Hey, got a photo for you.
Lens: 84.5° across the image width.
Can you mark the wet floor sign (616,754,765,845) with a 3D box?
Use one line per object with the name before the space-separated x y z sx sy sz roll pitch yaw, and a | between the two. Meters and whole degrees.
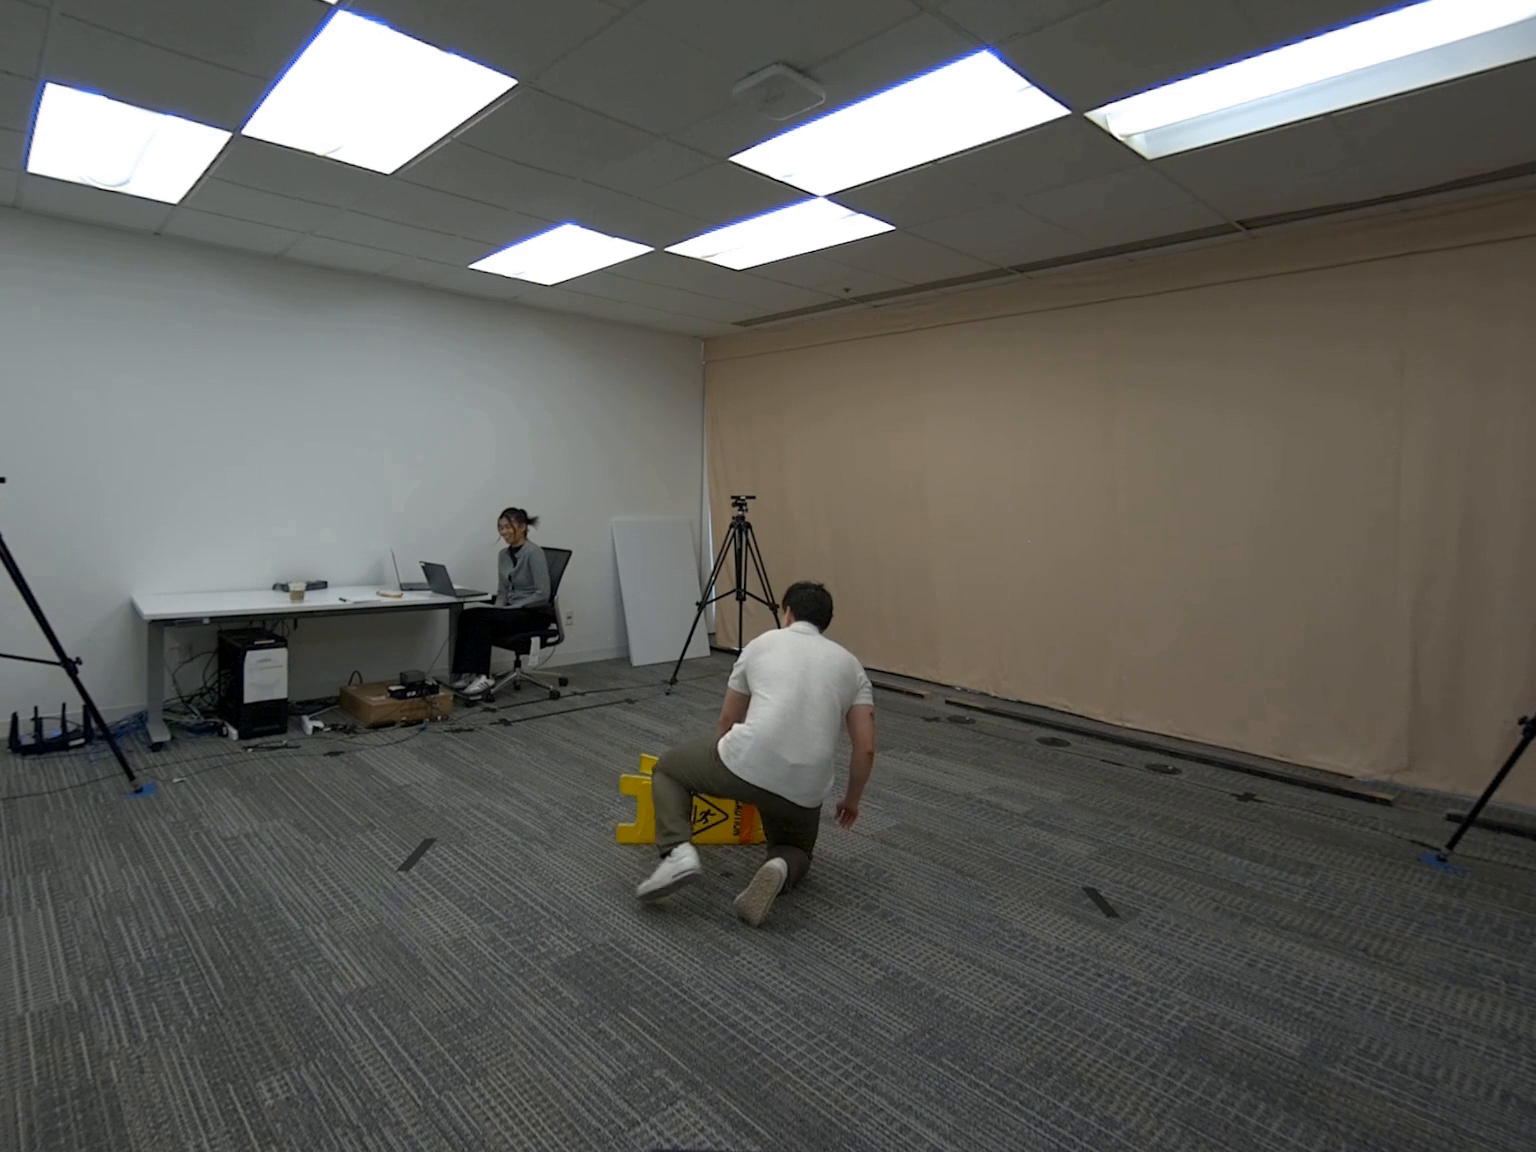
wet floor sign | -0.264 0.942 3.442 0.651 0.281 0.288 5 5 8
